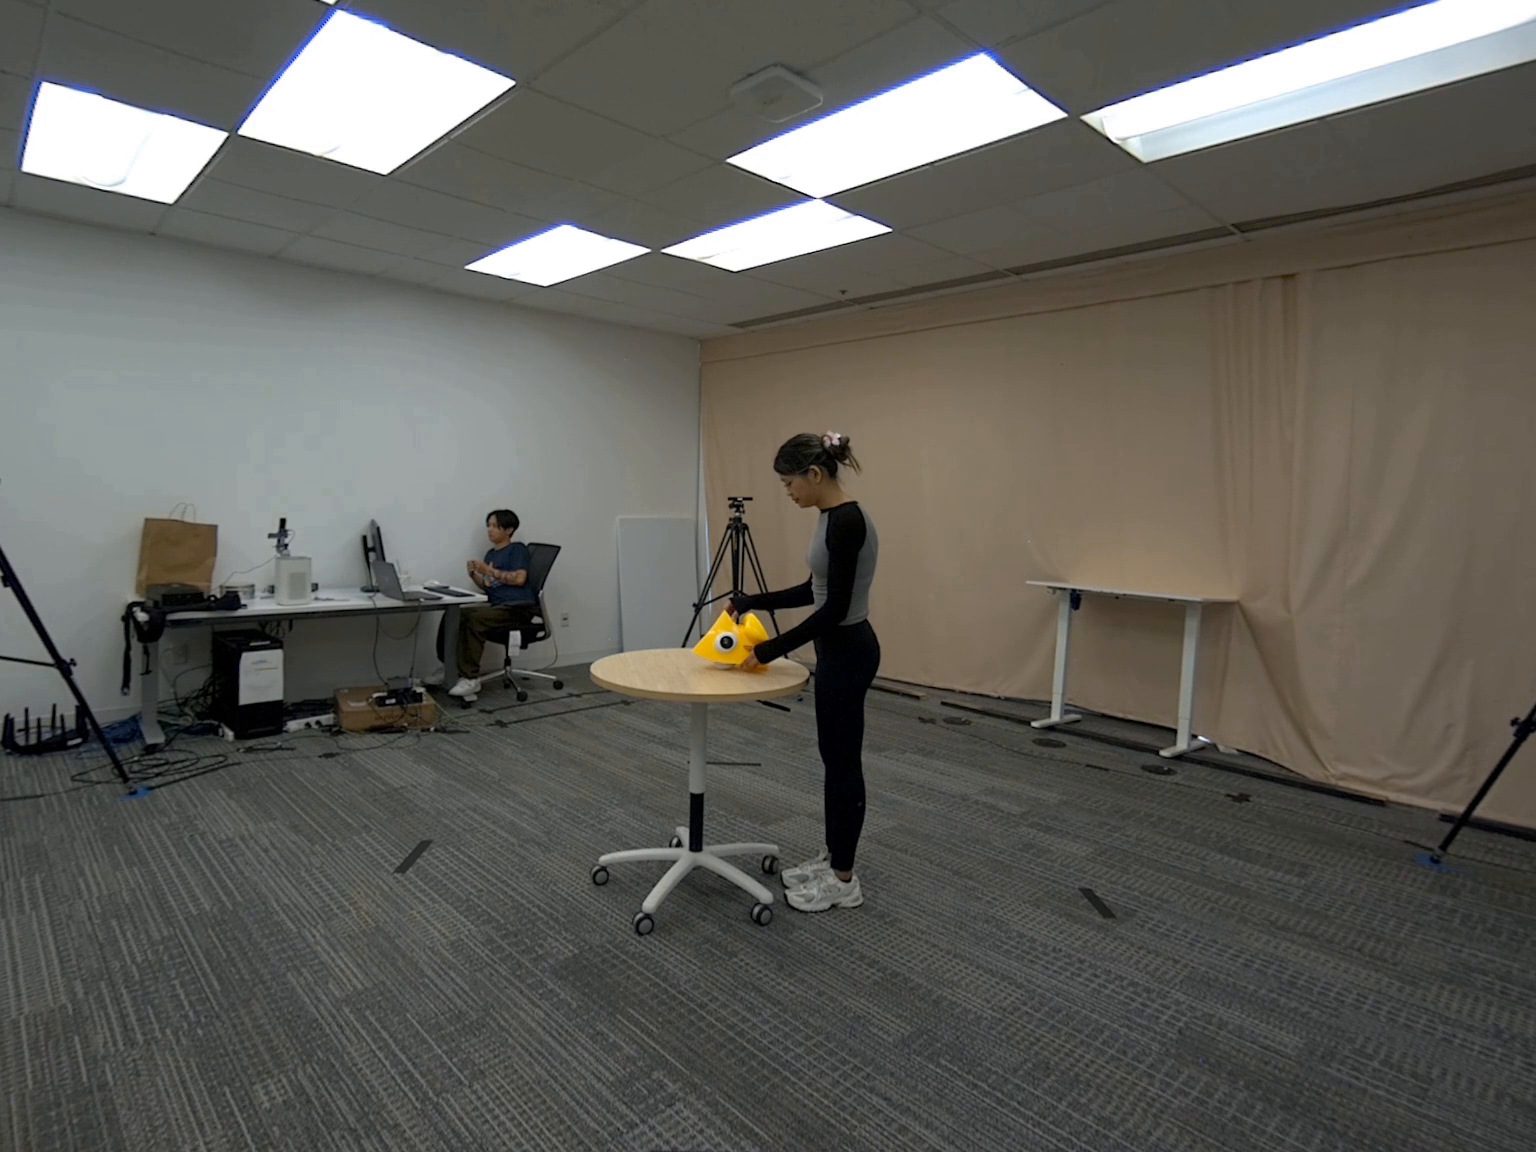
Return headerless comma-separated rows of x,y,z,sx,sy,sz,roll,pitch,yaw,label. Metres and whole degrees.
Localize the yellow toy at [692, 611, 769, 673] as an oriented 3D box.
-0.139,0.262,2.941,0.228,0.200,0.199,-21,48,-23,yellow toy
